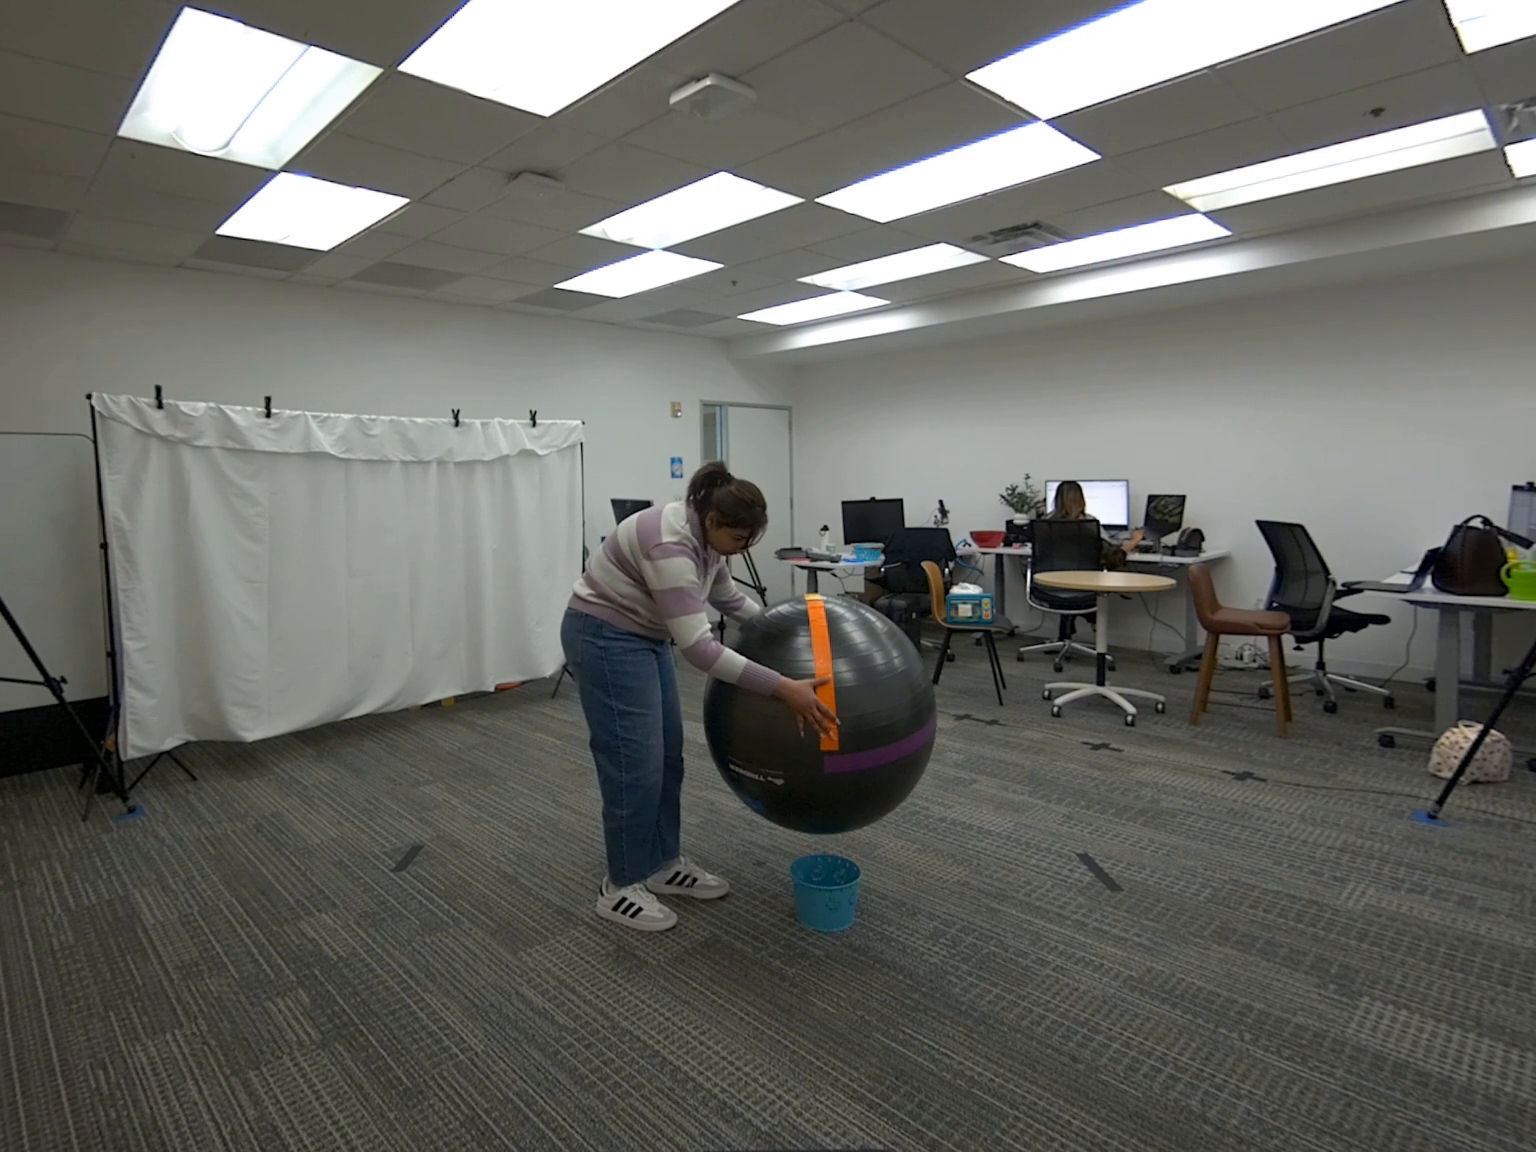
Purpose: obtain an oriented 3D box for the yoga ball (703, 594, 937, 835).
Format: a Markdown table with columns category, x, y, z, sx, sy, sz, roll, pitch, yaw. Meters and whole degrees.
| category | x | y | z | sx | sy | sz | roll | pitch | yaw |
| --- | --- | --- | --- | --- | --- | --- | --- | --- | --- |
| yoga ball | 0.163 | 0.443 | 2.799 | 0.757 | 0.755 | 0.762 | -1 | 5 | -2 |
